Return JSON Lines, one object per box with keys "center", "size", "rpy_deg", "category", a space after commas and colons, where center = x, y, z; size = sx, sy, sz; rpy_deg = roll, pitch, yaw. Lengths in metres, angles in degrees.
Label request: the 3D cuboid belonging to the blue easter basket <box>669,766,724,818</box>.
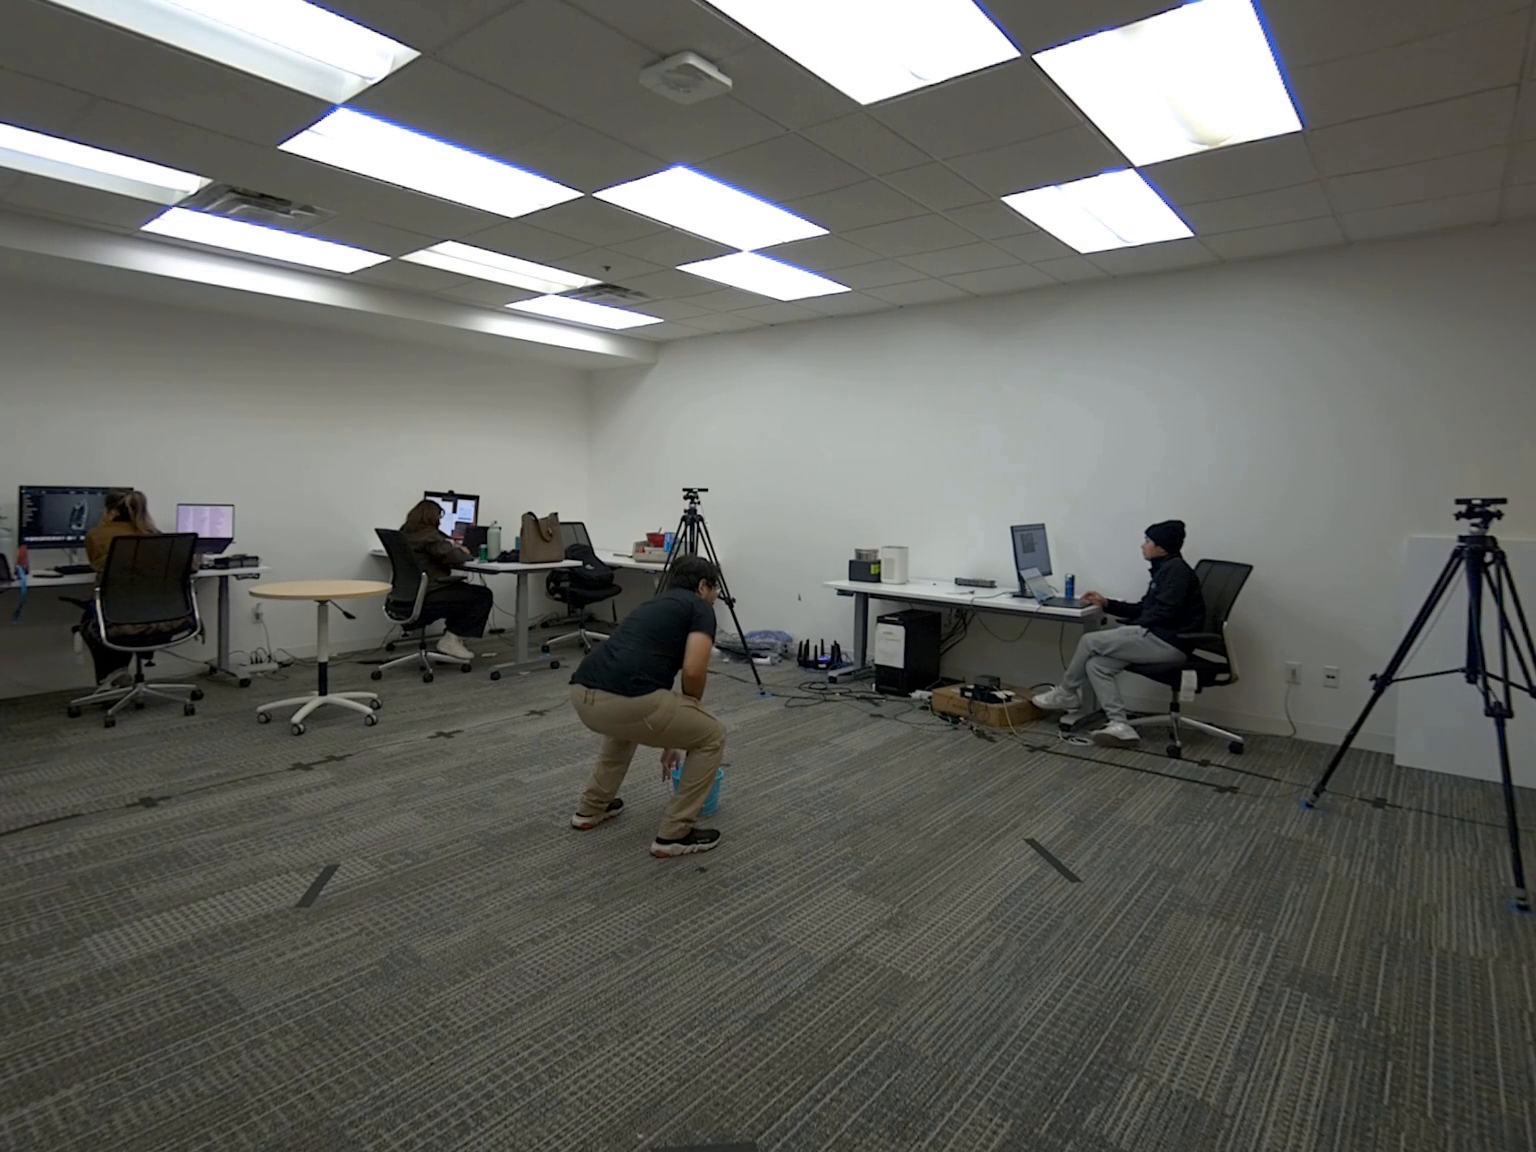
{"center": [-0.322, 0.930, 3.716], "size": [0.243, 0.155, 0.245], "rpy_deg": [1, 6, -2], "category": "blue easter basket"}
